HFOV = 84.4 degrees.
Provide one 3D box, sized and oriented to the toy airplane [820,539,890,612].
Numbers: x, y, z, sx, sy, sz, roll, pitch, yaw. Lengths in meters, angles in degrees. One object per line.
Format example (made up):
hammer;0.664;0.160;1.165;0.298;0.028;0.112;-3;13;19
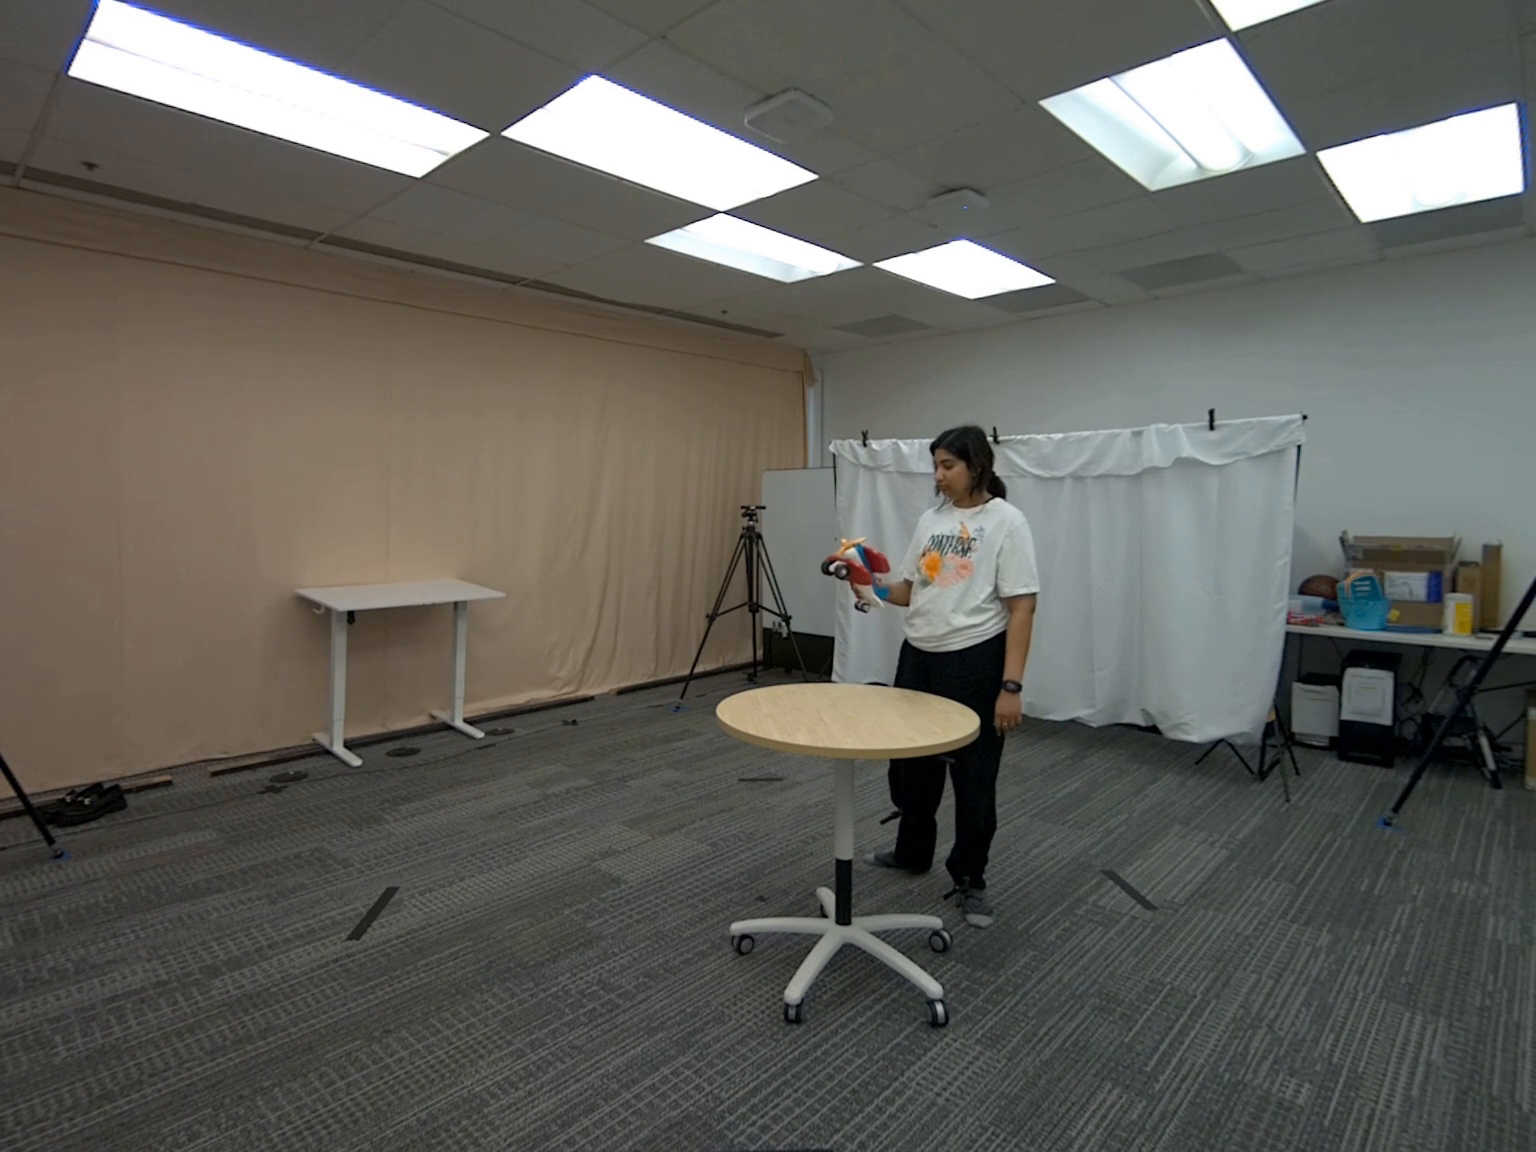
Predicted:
toy airplane;0.303;-0.002;2.886;0.260;0.156;0.251;33;-16;37
